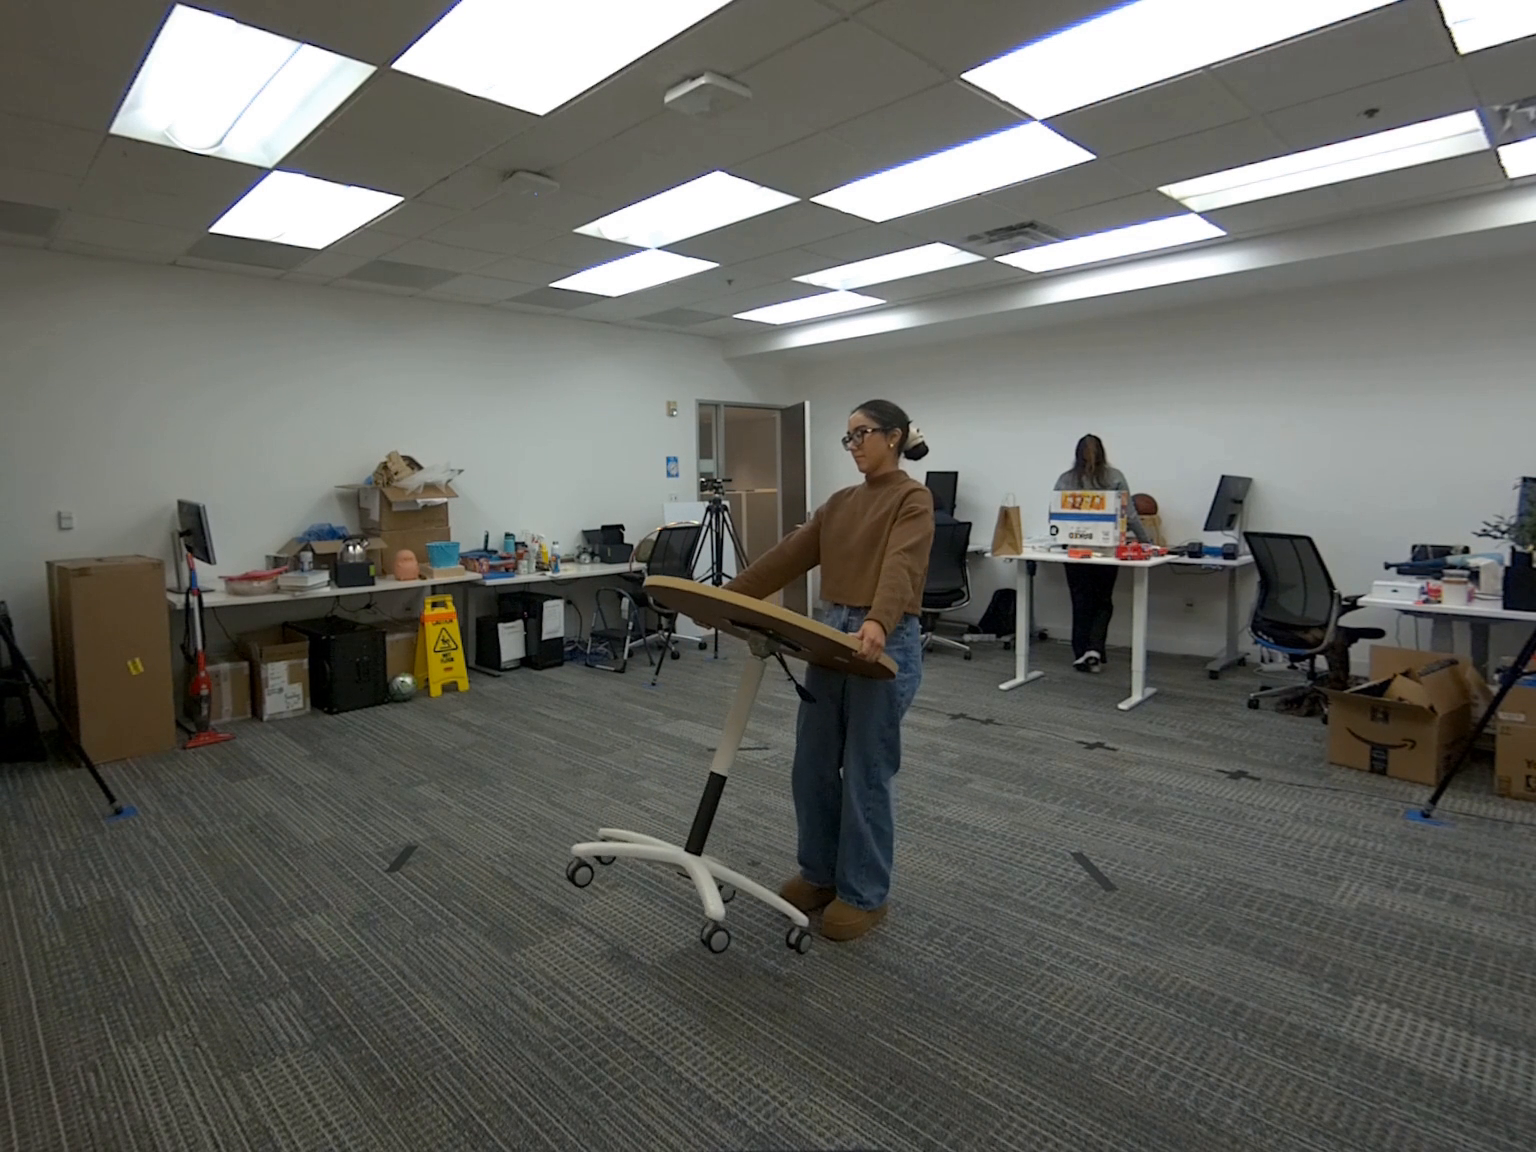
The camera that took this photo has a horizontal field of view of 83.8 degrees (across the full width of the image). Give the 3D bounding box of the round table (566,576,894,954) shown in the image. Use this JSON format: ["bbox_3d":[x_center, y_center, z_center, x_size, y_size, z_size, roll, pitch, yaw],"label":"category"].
[{"bbox_3d":[-0.118,0.518,2.373,0.788,0.792,0.777,18,-12,2],"label":"round table"}]
